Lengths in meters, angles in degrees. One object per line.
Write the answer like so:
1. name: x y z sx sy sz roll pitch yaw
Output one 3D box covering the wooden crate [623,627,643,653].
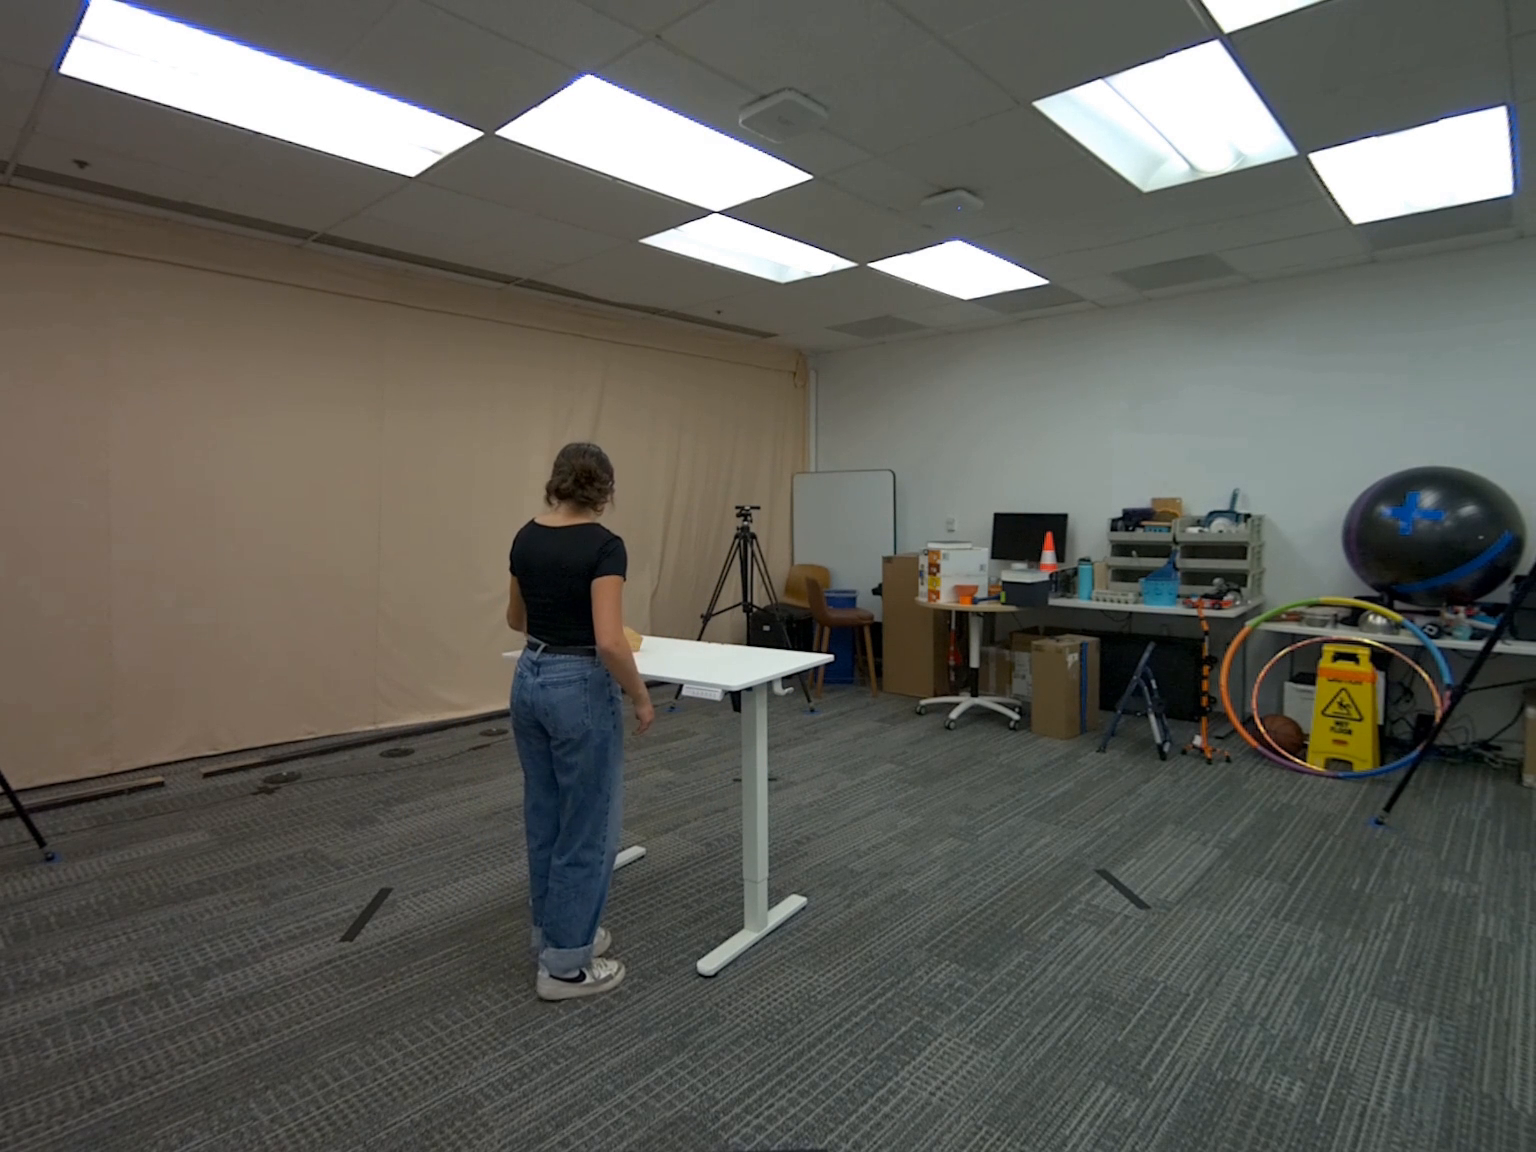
1. wooden crate: -0.658 0.134 2.999 0.293 0.273 0.335 -5 5 -41
